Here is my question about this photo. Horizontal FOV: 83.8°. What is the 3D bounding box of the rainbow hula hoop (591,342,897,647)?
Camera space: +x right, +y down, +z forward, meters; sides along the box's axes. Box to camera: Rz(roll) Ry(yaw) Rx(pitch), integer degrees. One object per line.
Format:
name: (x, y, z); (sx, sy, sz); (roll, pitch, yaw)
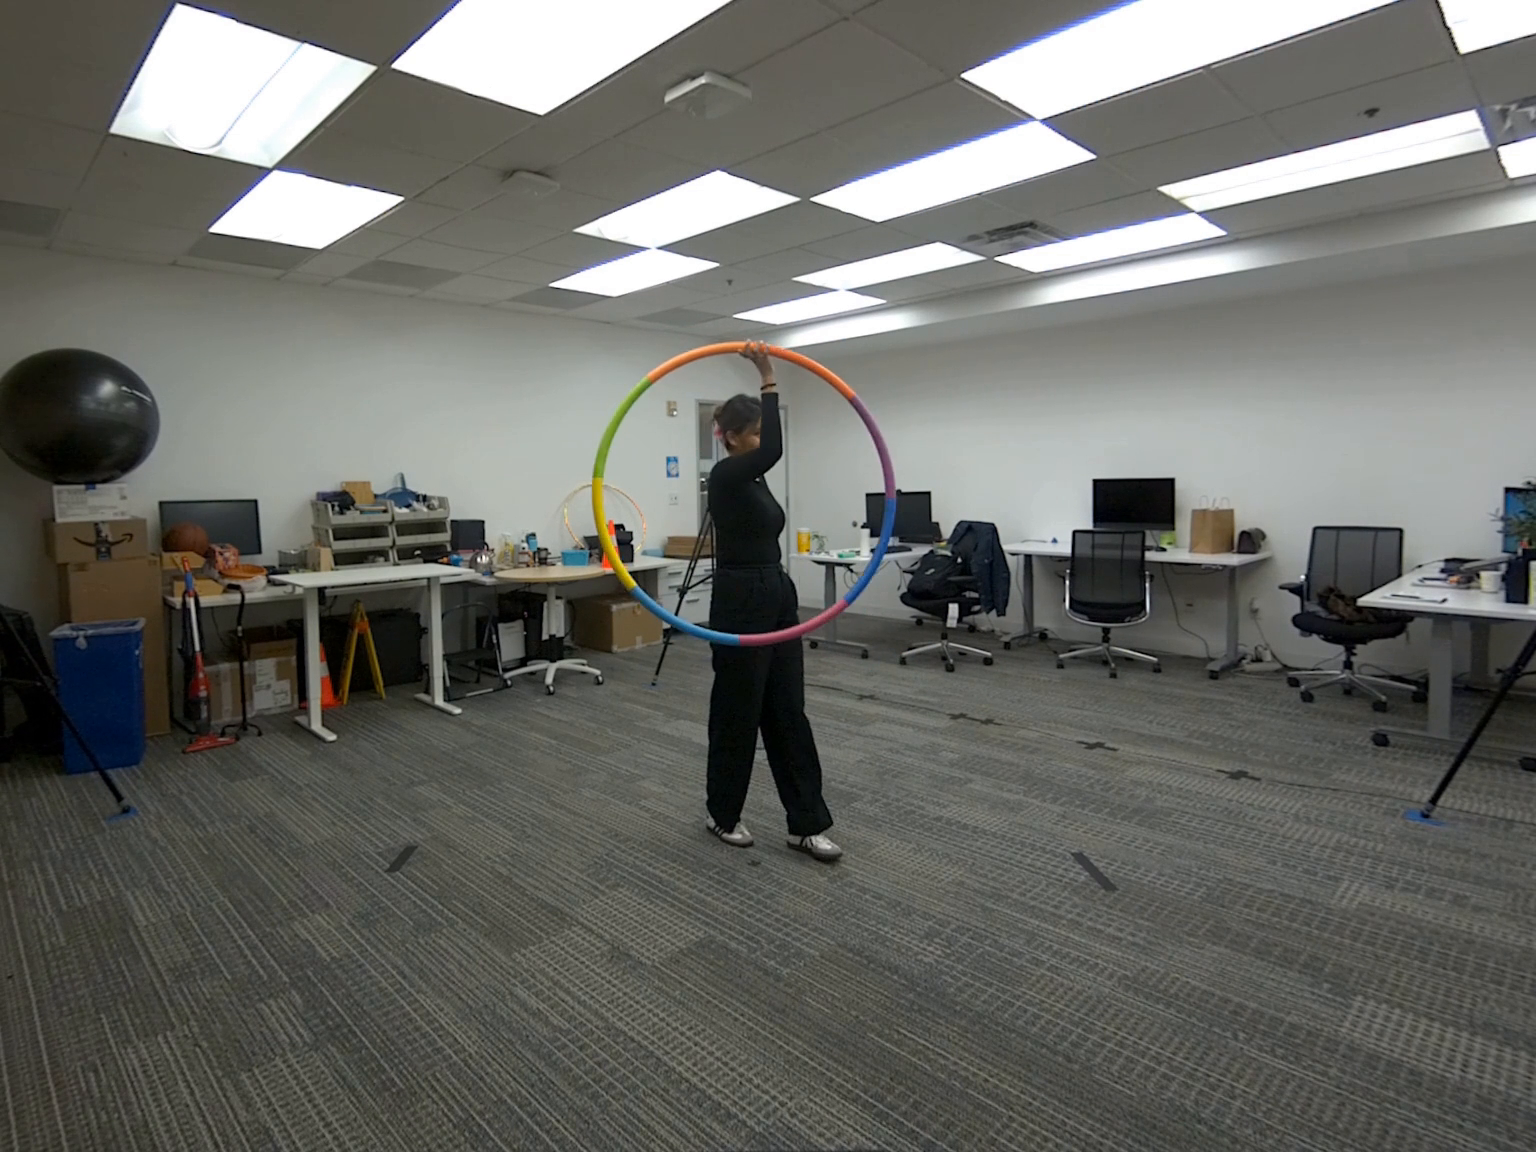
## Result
rainbow hula hoop: (-0.068, -0.280, 2.755); (0.979, 0.994, 0.051); (-2, -9, -6)
